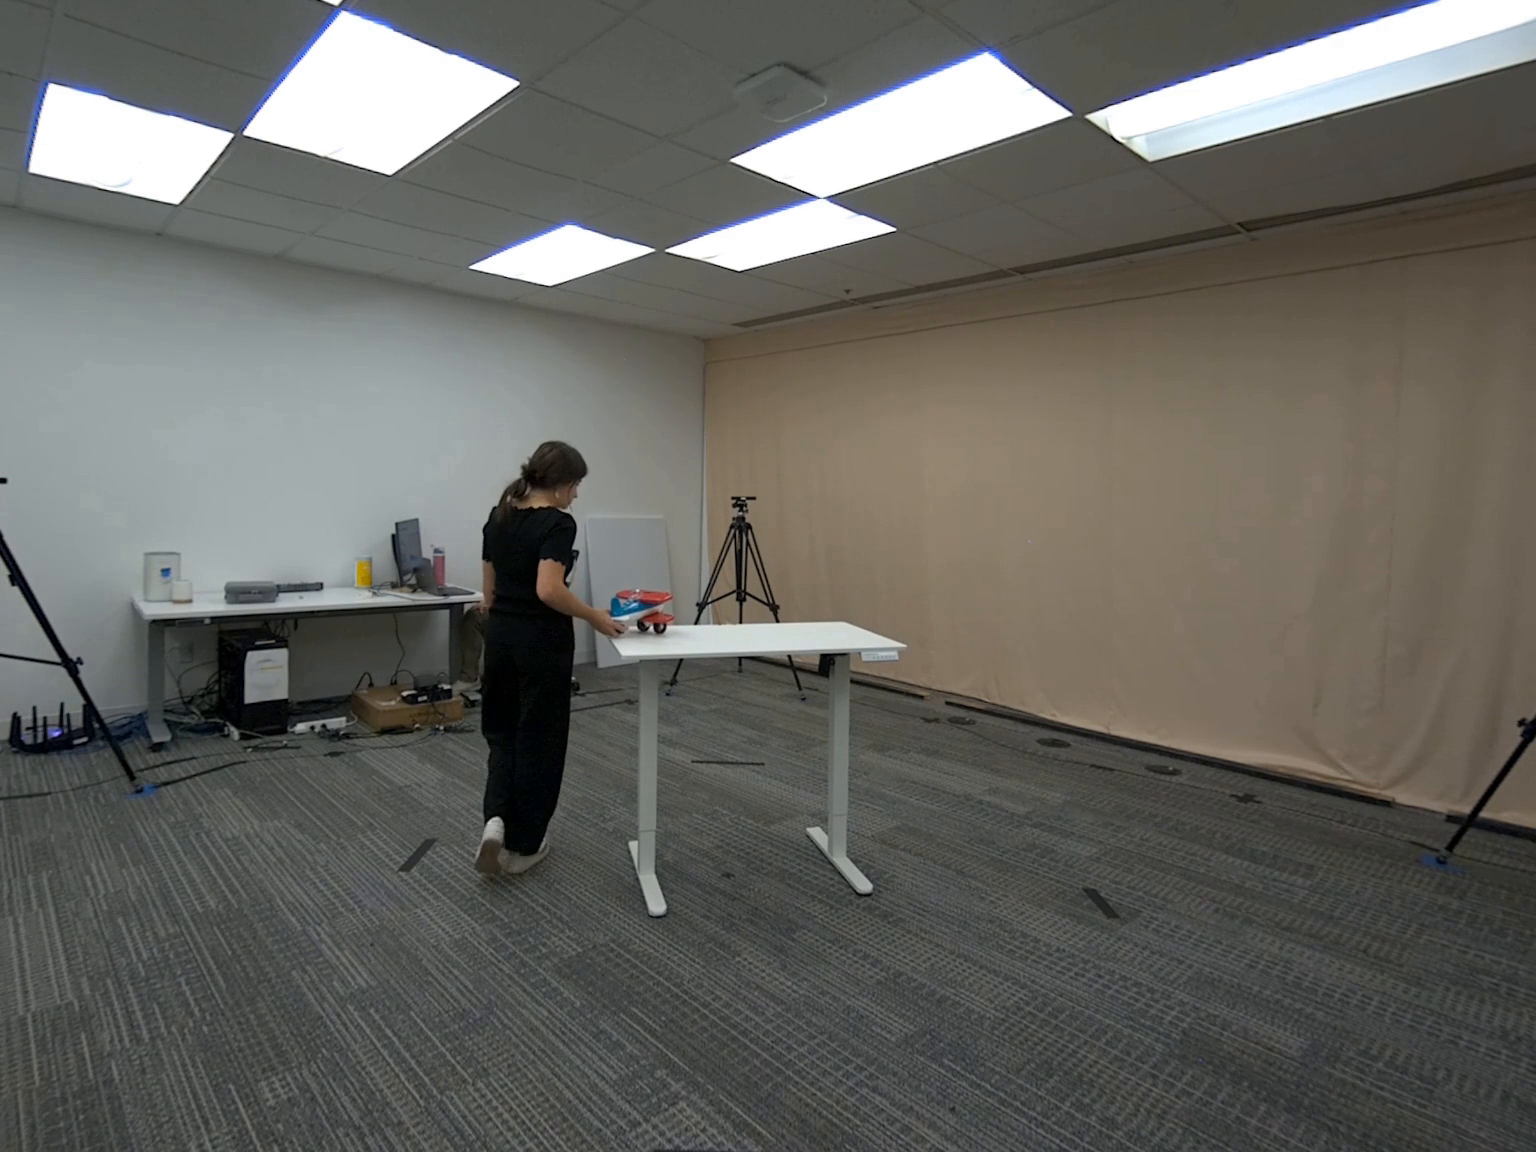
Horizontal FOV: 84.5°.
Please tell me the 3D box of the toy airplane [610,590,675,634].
[{"bbox_3d":[-0.481,0.135,3.097,0.253,0.156,0.257,4,-1,9],"label":"toy airplane"}]
